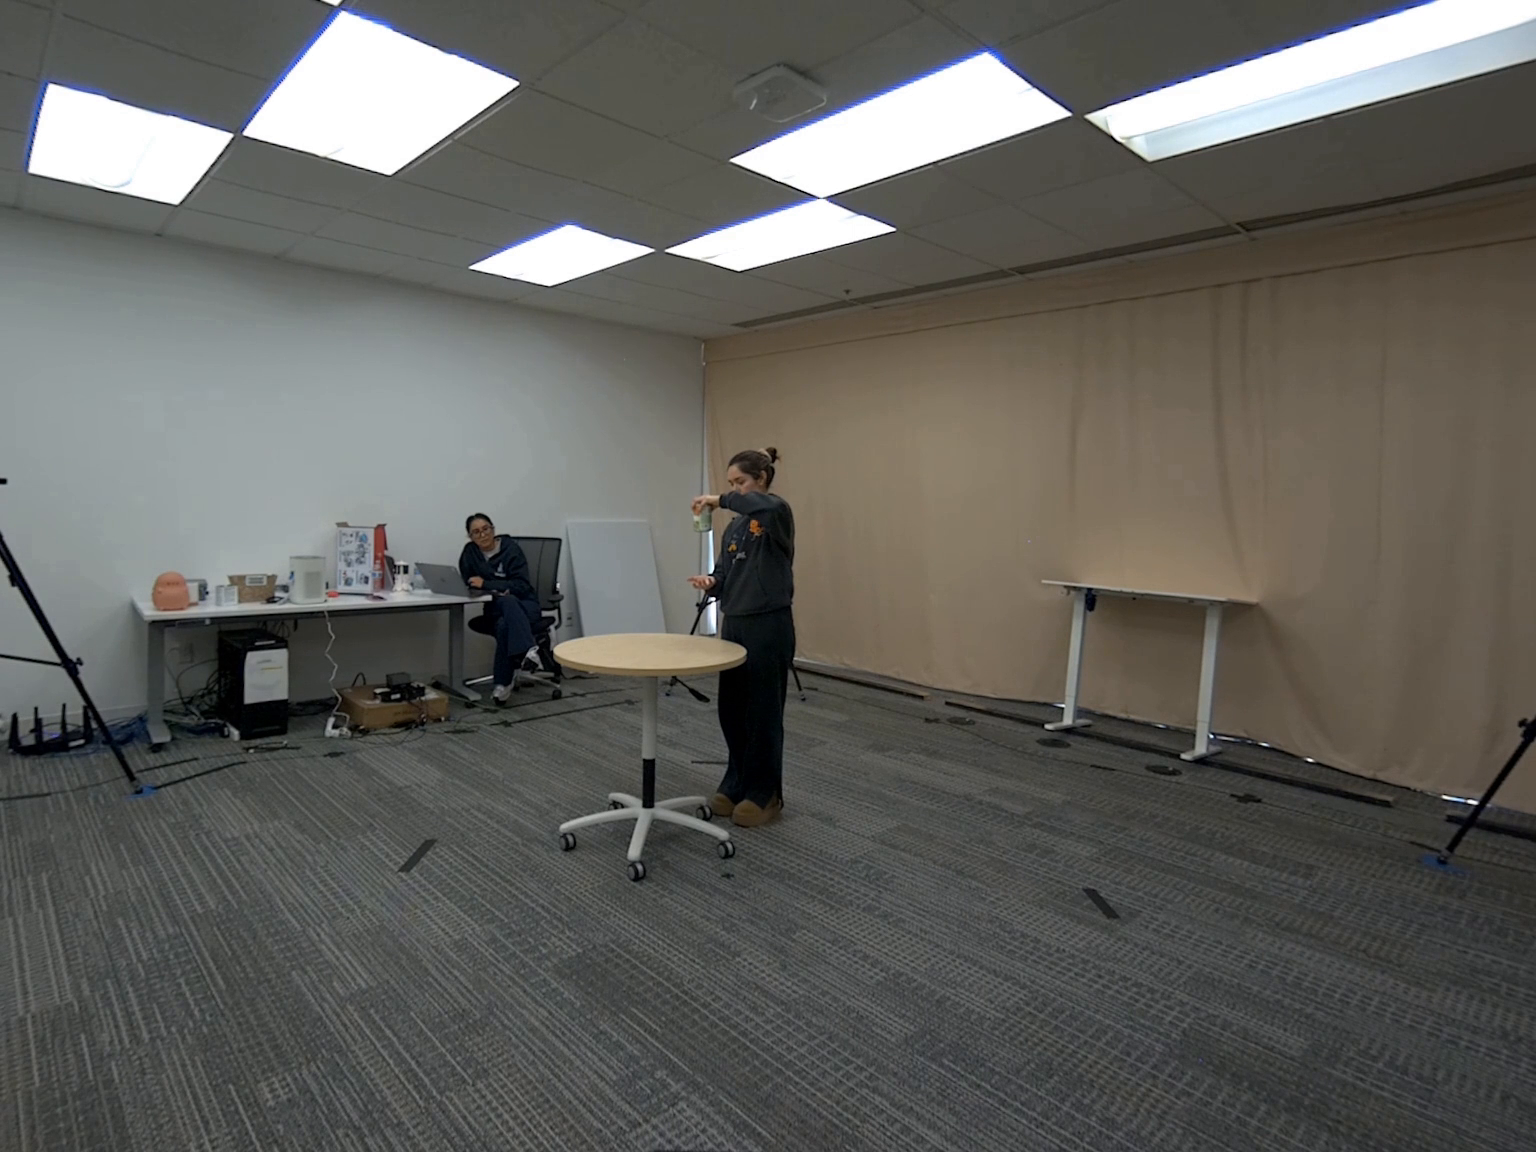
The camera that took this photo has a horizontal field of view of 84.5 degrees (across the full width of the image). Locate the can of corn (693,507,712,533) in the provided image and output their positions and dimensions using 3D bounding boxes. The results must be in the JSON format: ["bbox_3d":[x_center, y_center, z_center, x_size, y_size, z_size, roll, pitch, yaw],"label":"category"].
[{"bbox_3d":[-0.281,-0.249,3.499,0.074,0.110,0.075,-1,10,-1],"label":"can of corn"}]
